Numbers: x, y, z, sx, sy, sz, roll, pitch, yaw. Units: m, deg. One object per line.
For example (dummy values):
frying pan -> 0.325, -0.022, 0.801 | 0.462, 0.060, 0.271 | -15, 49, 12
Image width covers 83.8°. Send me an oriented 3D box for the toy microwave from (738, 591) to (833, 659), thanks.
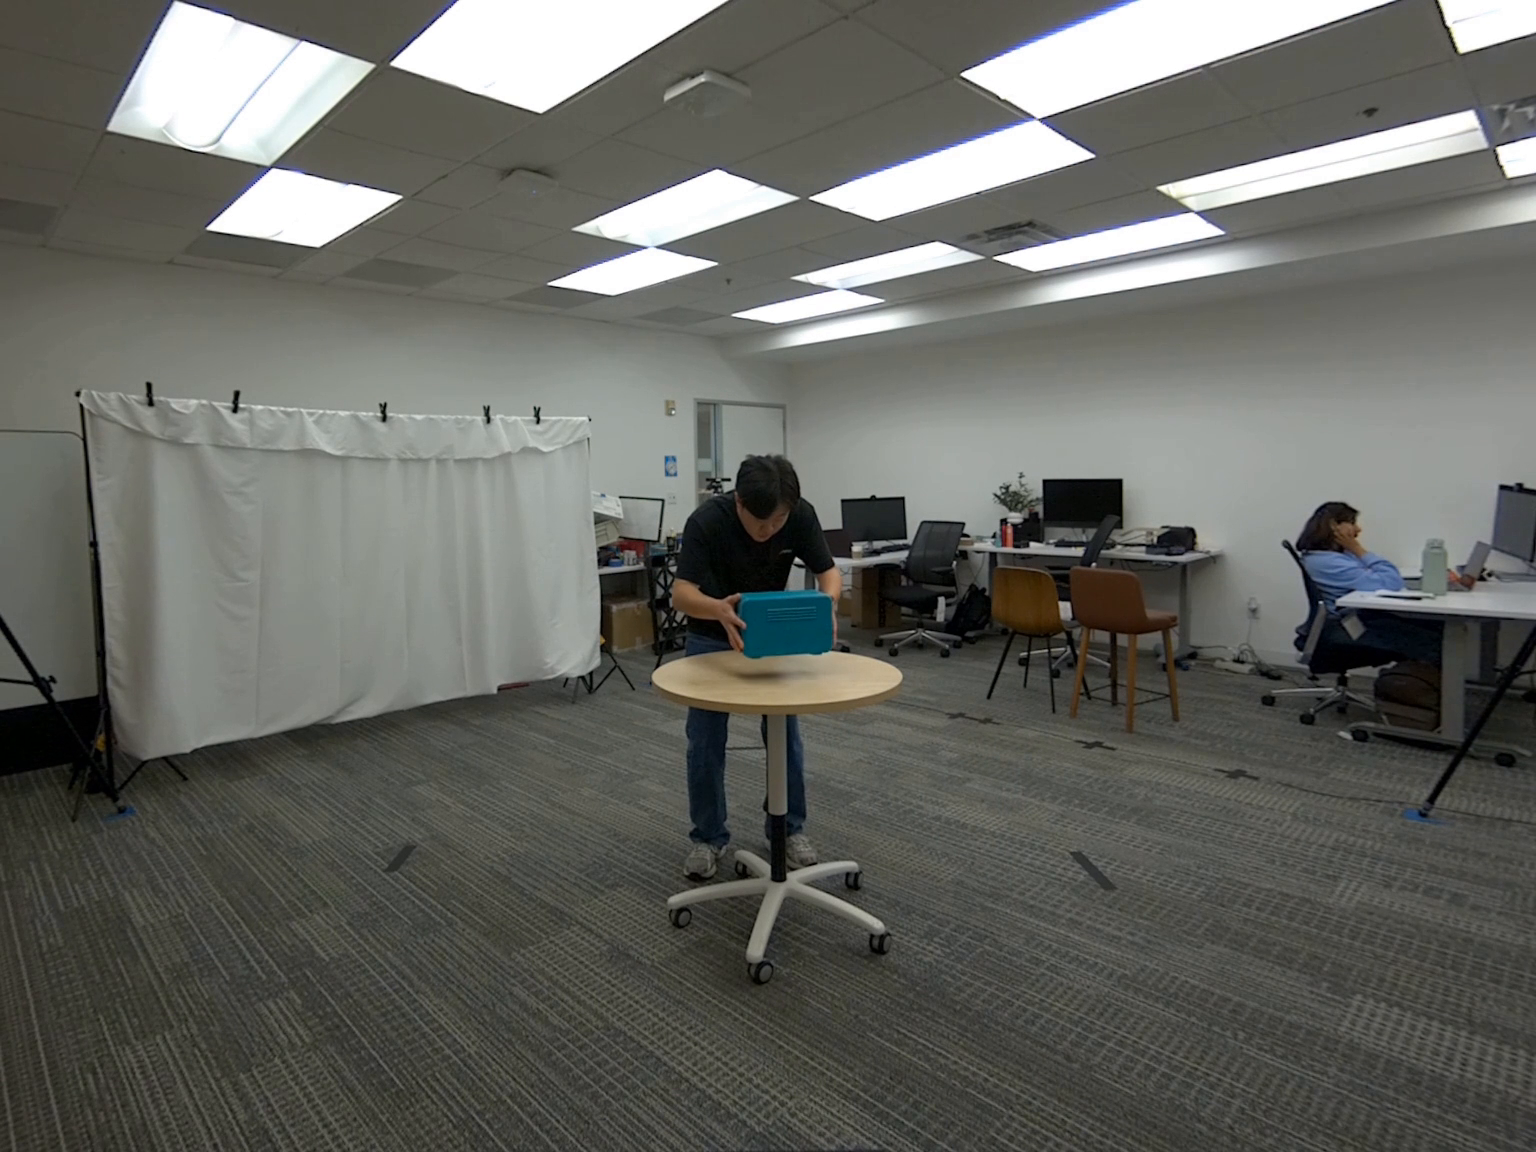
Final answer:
toy microwave -> 0.028, 0.145, 2.590 | 0.282, 0.183, 0.155 | -2, 4, -14
